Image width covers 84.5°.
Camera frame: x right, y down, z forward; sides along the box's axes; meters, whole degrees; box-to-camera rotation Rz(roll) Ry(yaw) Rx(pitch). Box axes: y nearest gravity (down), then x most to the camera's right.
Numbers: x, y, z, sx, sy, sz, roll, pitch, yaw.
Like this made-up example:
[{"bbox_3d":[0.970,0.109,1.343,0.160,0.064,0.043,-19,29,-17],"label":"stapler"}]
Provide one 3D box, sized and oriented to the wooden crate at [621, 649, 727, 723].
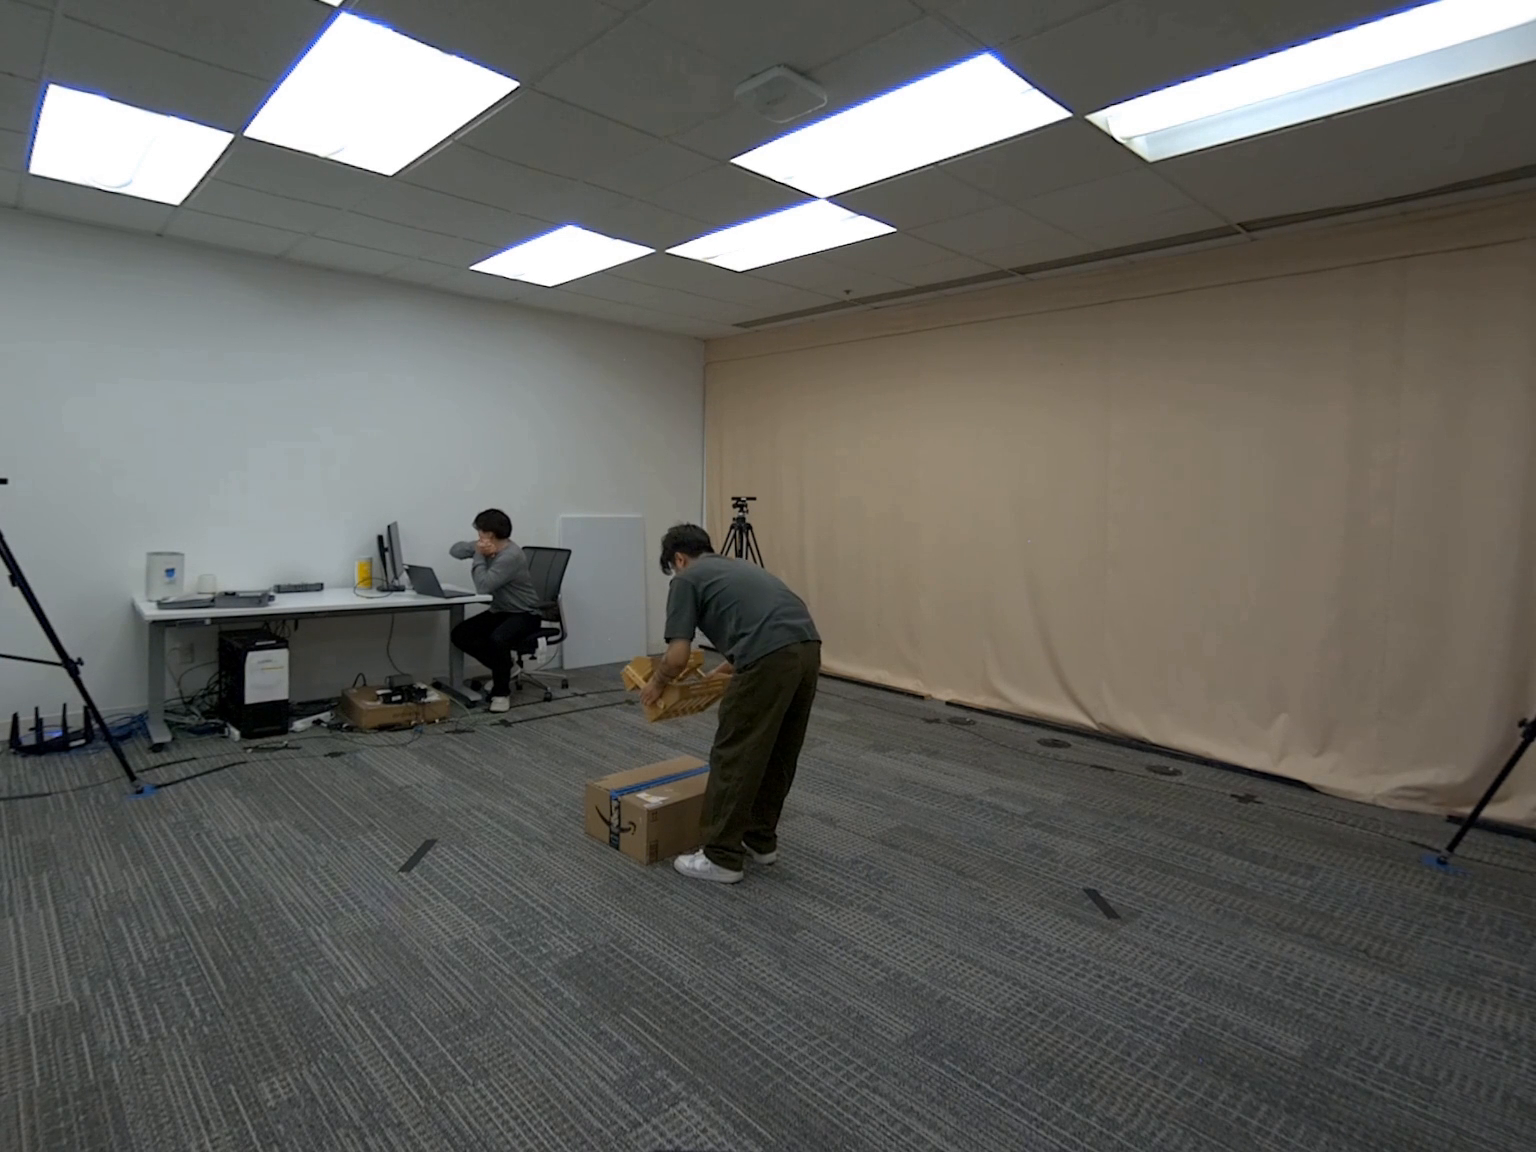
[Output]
[{"bbox_3d":[-0.383,0.423,3.492,0.317,0.279,0.302,-2,-32,-45],"label":"wooden crate"}]
